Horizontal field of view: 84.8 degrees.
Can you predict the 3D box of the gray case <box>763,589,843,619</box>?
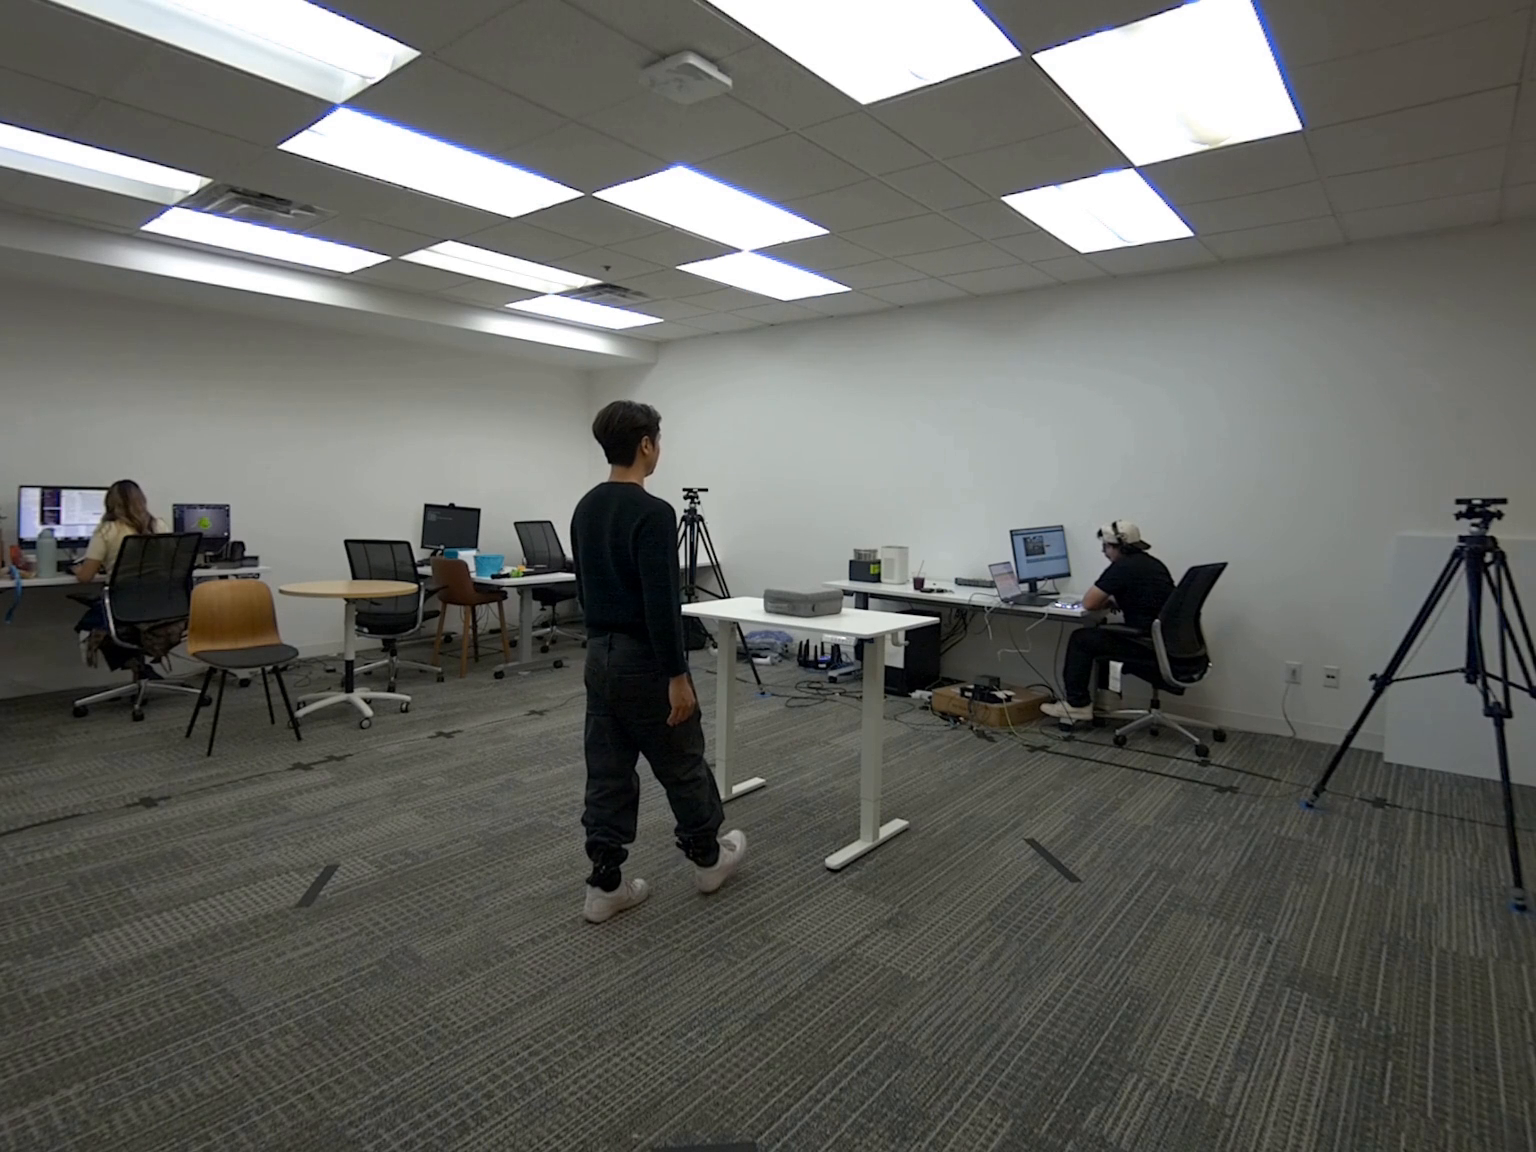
[{"bbox_3d":[0.142,0.099,3.554,0.266,0.104,0.253,6,8,42],"label":"gray case"}]
